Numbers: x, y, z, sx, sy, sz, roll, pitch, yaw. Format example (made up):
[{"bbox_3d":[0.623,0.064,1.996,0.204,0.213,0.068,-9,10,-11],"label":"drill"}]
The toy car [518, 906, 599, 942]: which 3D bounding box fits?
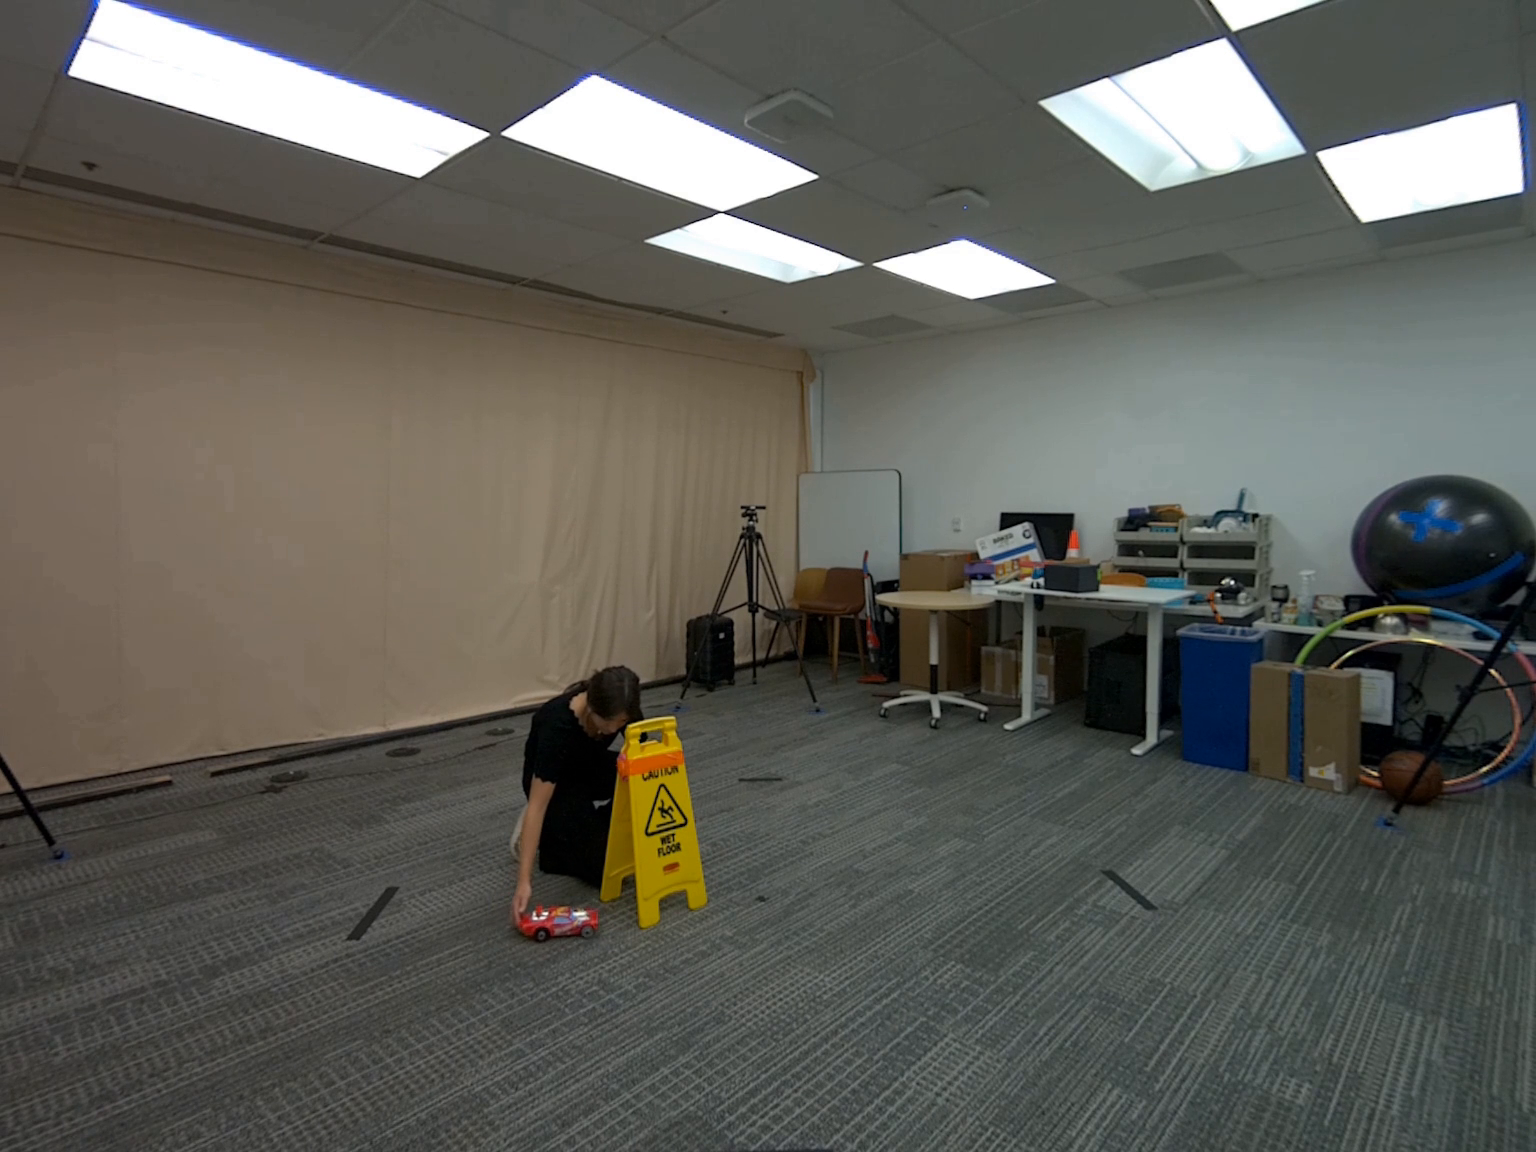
[{"bbox_3d":[-0.679,1.130,2.759,0.251,0.083,0.132,9,3,-11],"label":"toy car"}]
